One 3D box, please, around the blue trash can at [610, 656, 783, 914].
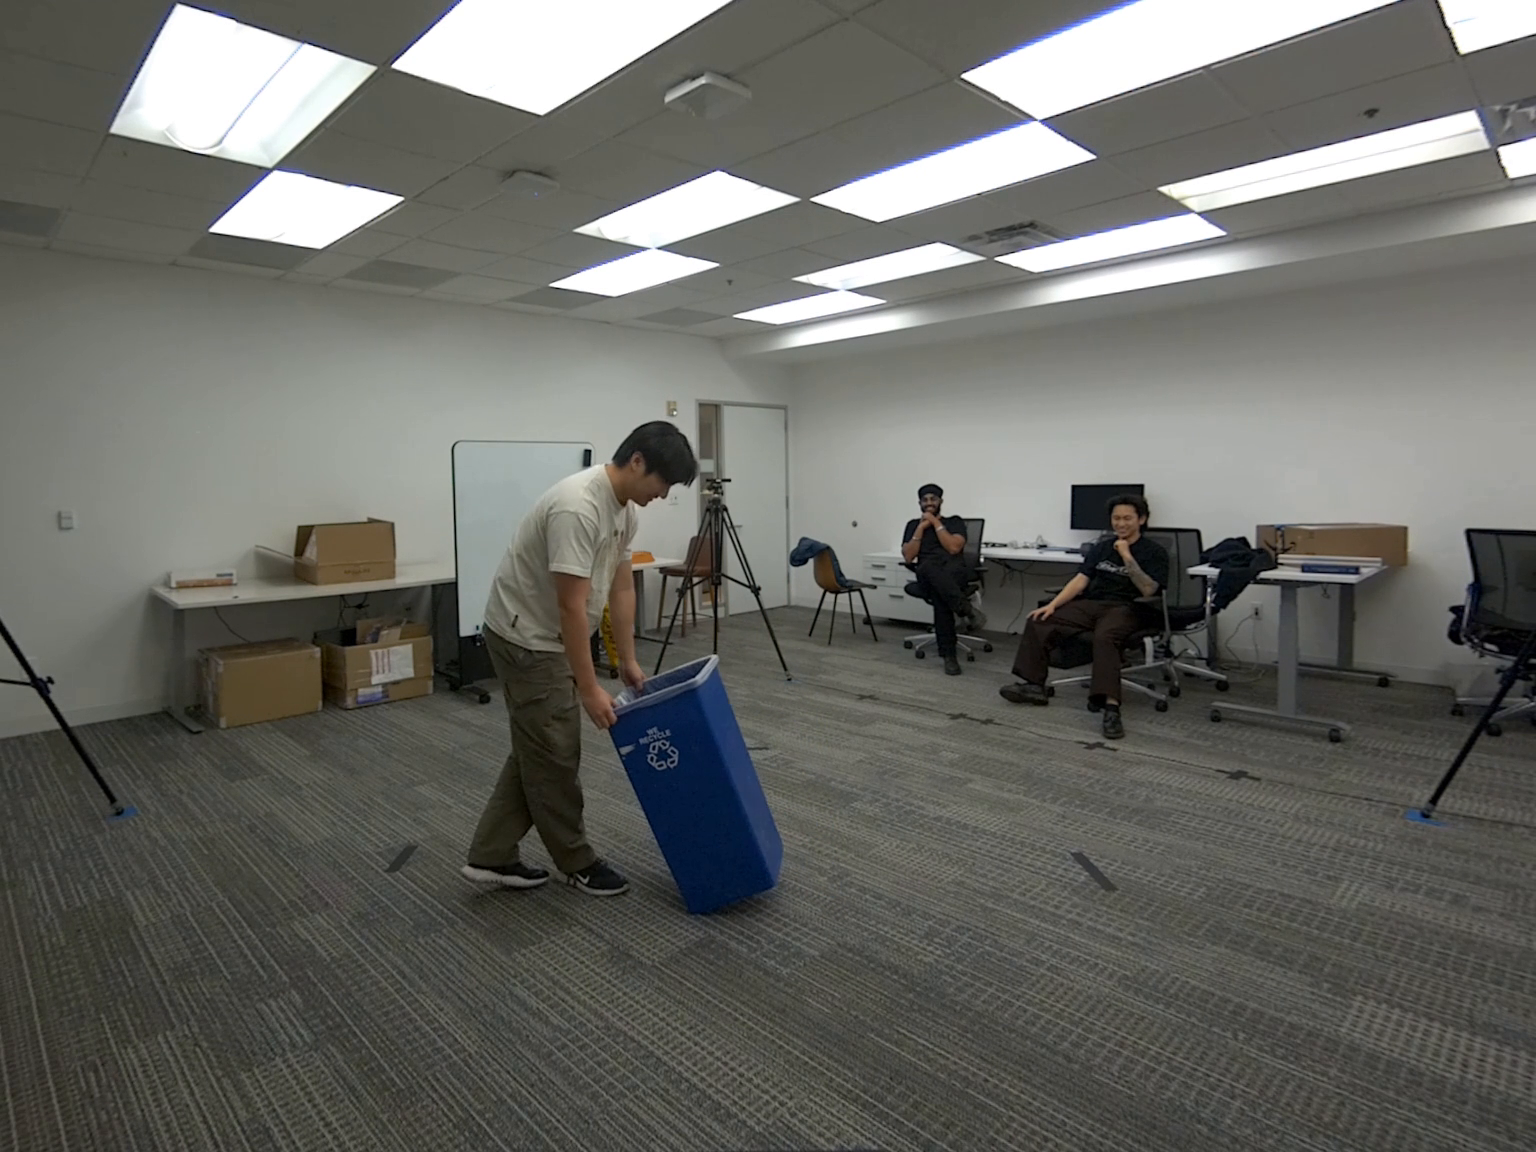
[{"bbox_3d":[-0.225,0.686,2.856,0.376,0.713,0.376,-23,1,10],"label":"blue trash can"}]
